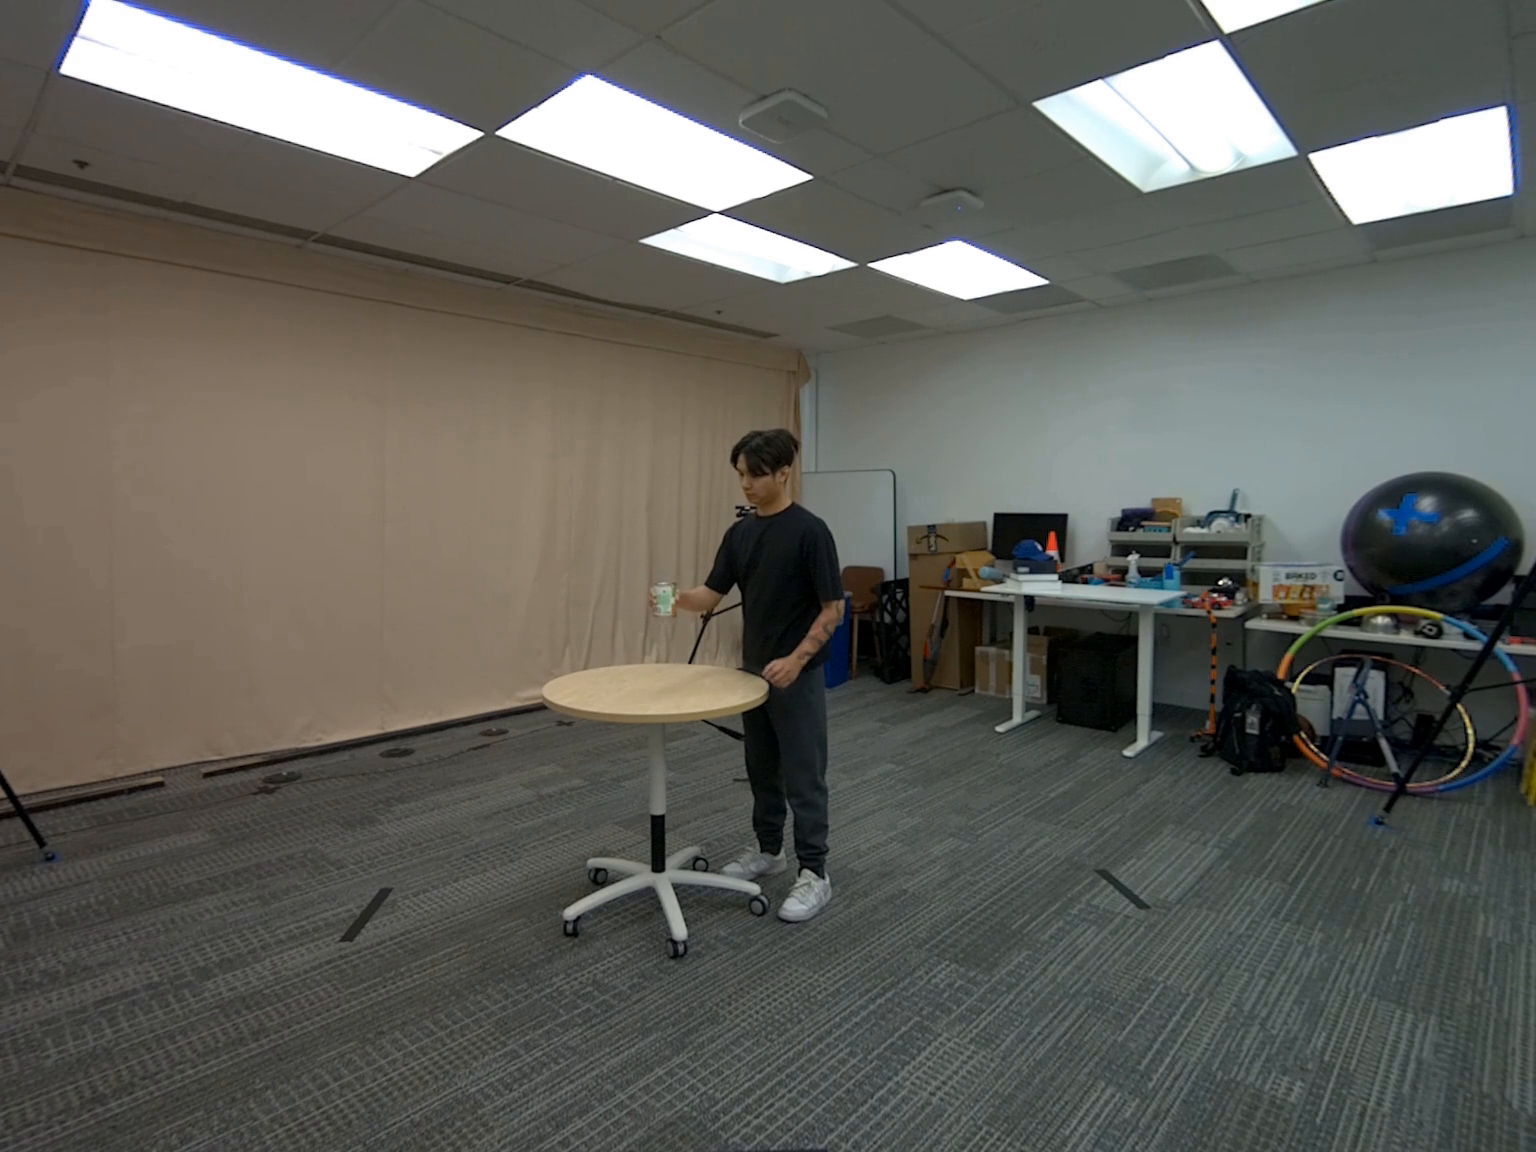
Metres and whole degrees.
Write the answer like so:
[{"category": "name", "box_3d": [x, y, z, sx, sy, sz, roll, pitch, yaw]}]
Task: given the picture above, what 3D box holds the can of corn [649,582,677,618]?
[{"category": "can of corn", "box_3d": [-0.337, 0.081, 2.832, 0.074, 0.111, 0.074, 0, 3, -2]}]
